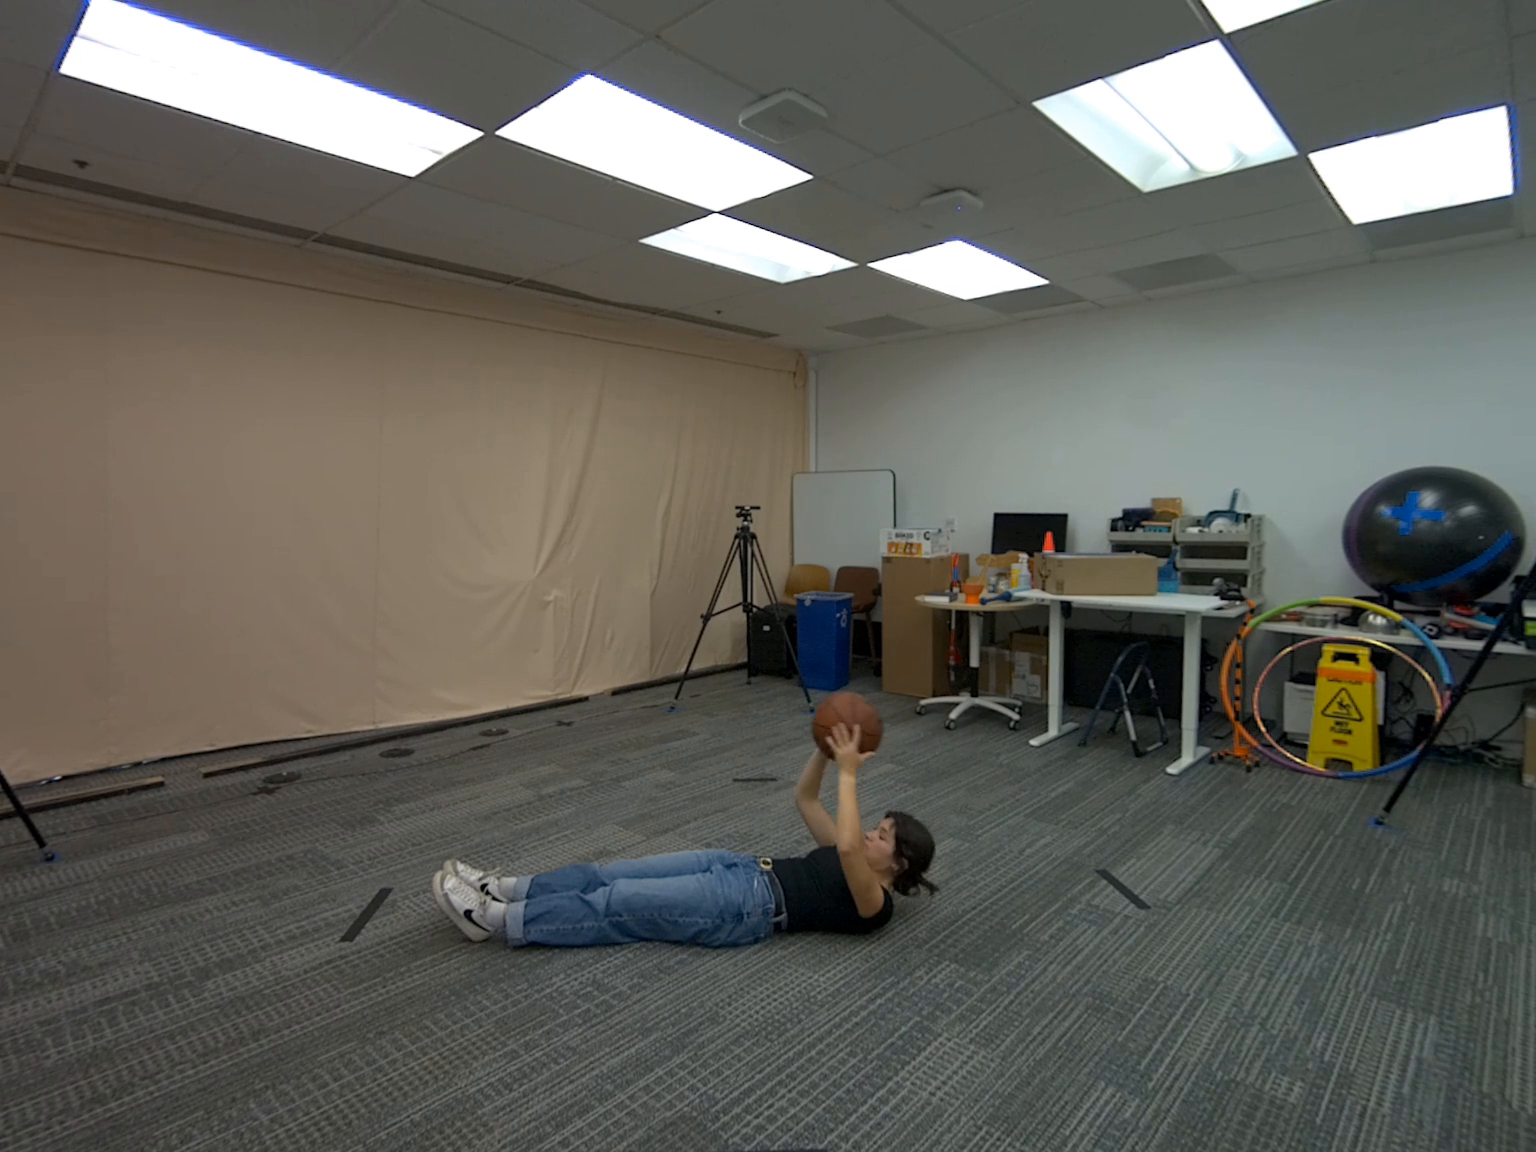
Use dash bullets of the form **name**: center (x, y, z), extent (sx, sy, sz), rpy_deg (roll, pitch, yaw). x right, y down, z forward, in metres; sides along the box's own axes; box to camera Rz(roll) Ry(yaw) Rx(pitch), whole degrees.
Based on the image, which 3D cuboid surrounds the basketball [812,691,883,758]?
- **basketball**: center (0.289, 0.537, 2.843), extent (0.236, 0.235, 0.237), rpy_deg (0, 4, -2)
